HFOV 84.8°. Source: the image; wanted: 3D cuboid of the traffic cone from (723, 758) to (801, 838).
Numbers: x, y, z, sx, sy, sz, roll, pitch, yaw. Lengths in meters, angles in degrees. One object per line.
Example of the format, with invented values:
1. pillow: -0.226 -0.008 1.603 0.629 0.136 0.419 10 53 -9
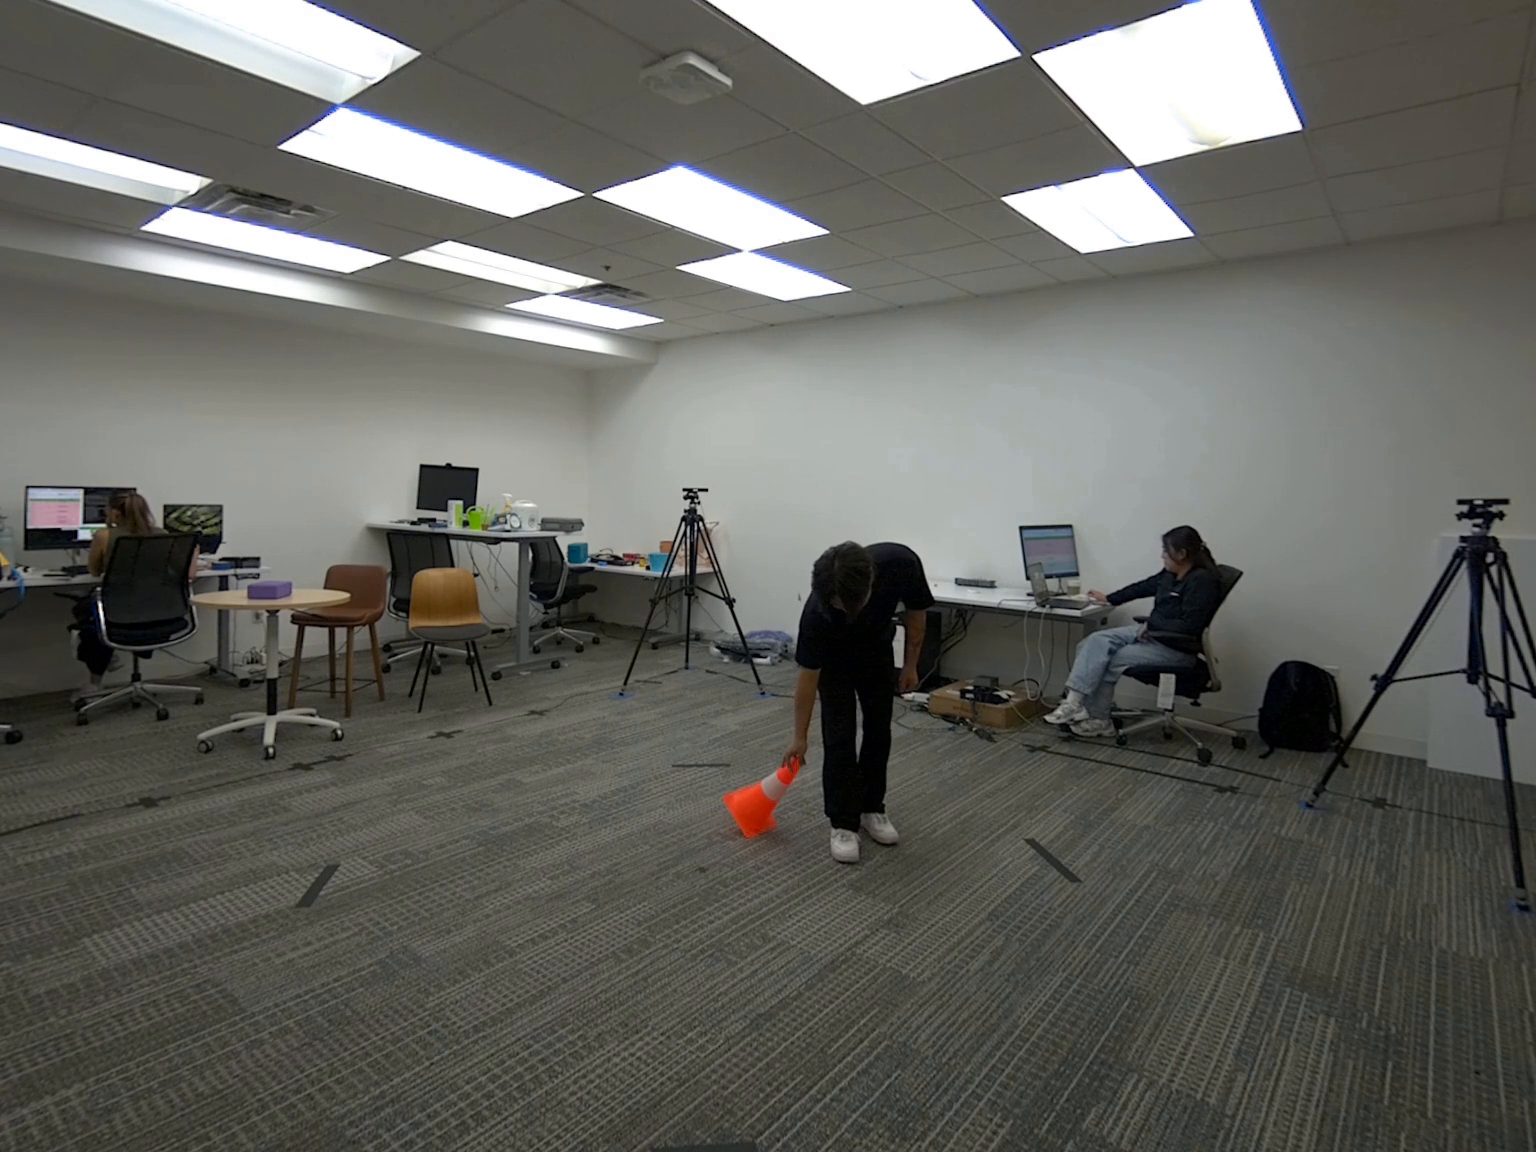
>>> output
1. traffic cone: 0.019 0.841 3.418 0.197 0.382 0.212 0 44 -49
